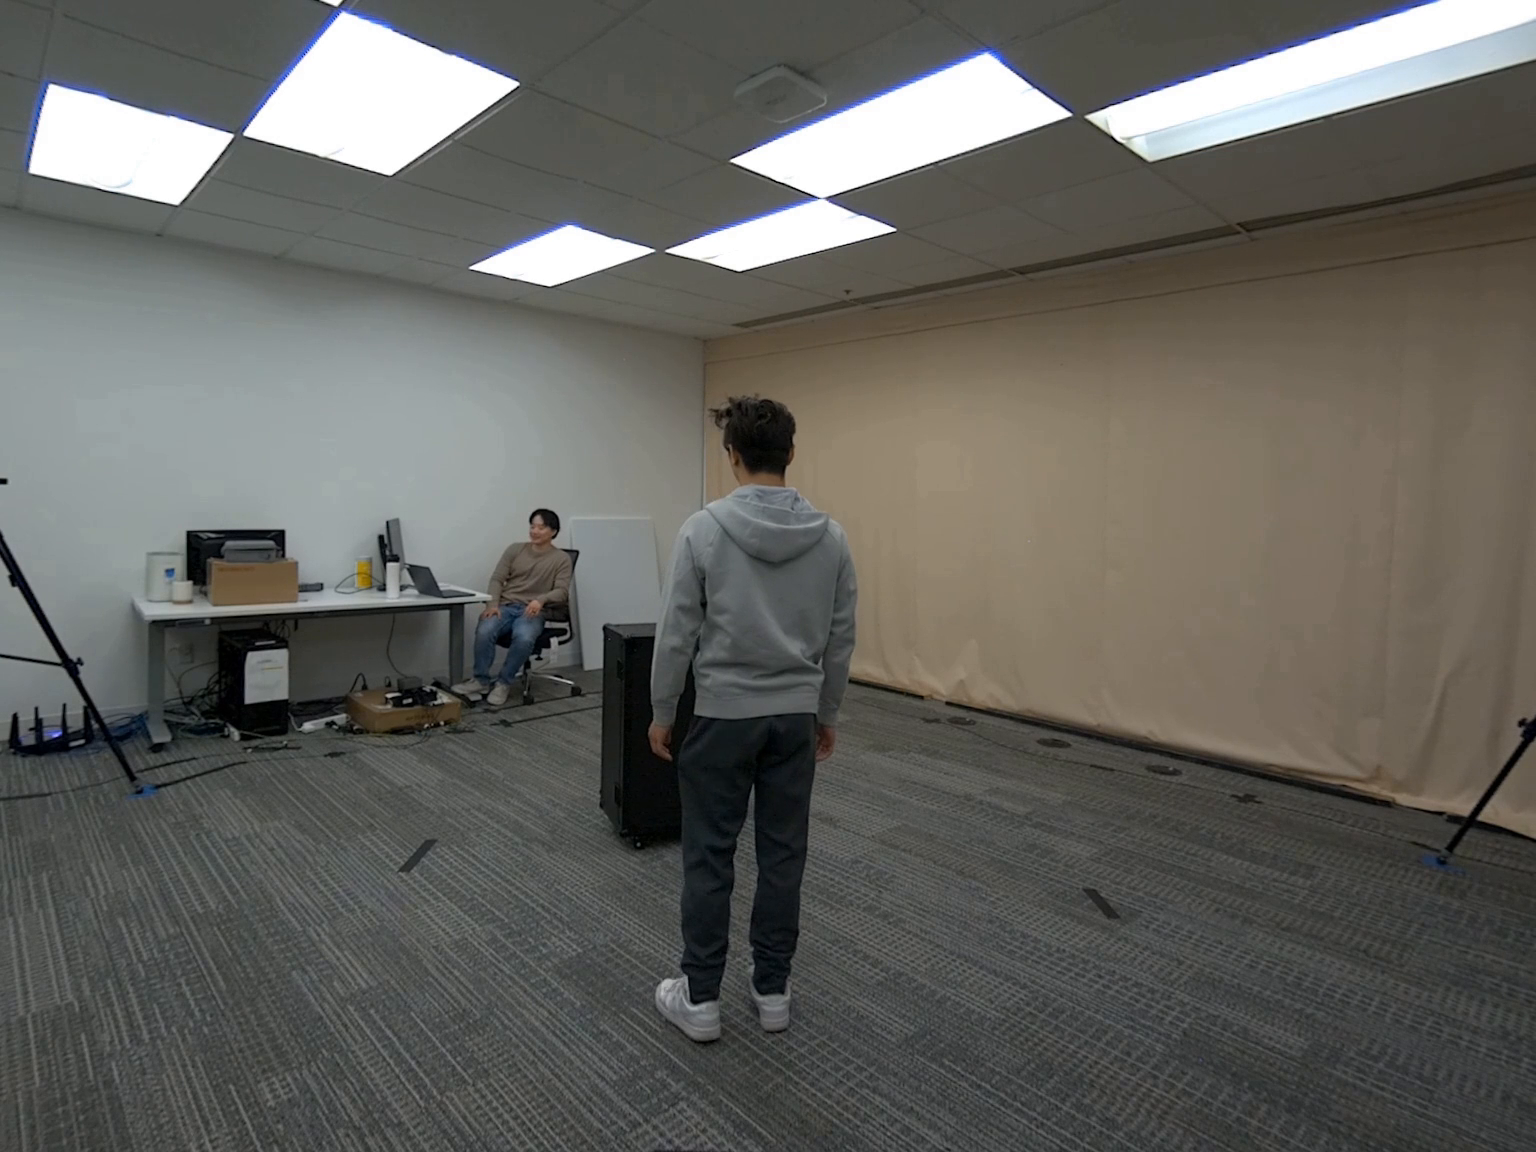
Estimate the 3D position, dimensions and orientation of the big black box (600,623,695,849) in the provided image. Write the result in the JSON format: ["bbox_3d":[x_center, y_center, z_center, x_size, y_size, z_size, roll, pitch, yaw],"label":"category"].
[{"bbox_3d":[-0.431,0.641,3.497,0.512,0.860,0.404,0,2,-24],"label":"big black box"}]
